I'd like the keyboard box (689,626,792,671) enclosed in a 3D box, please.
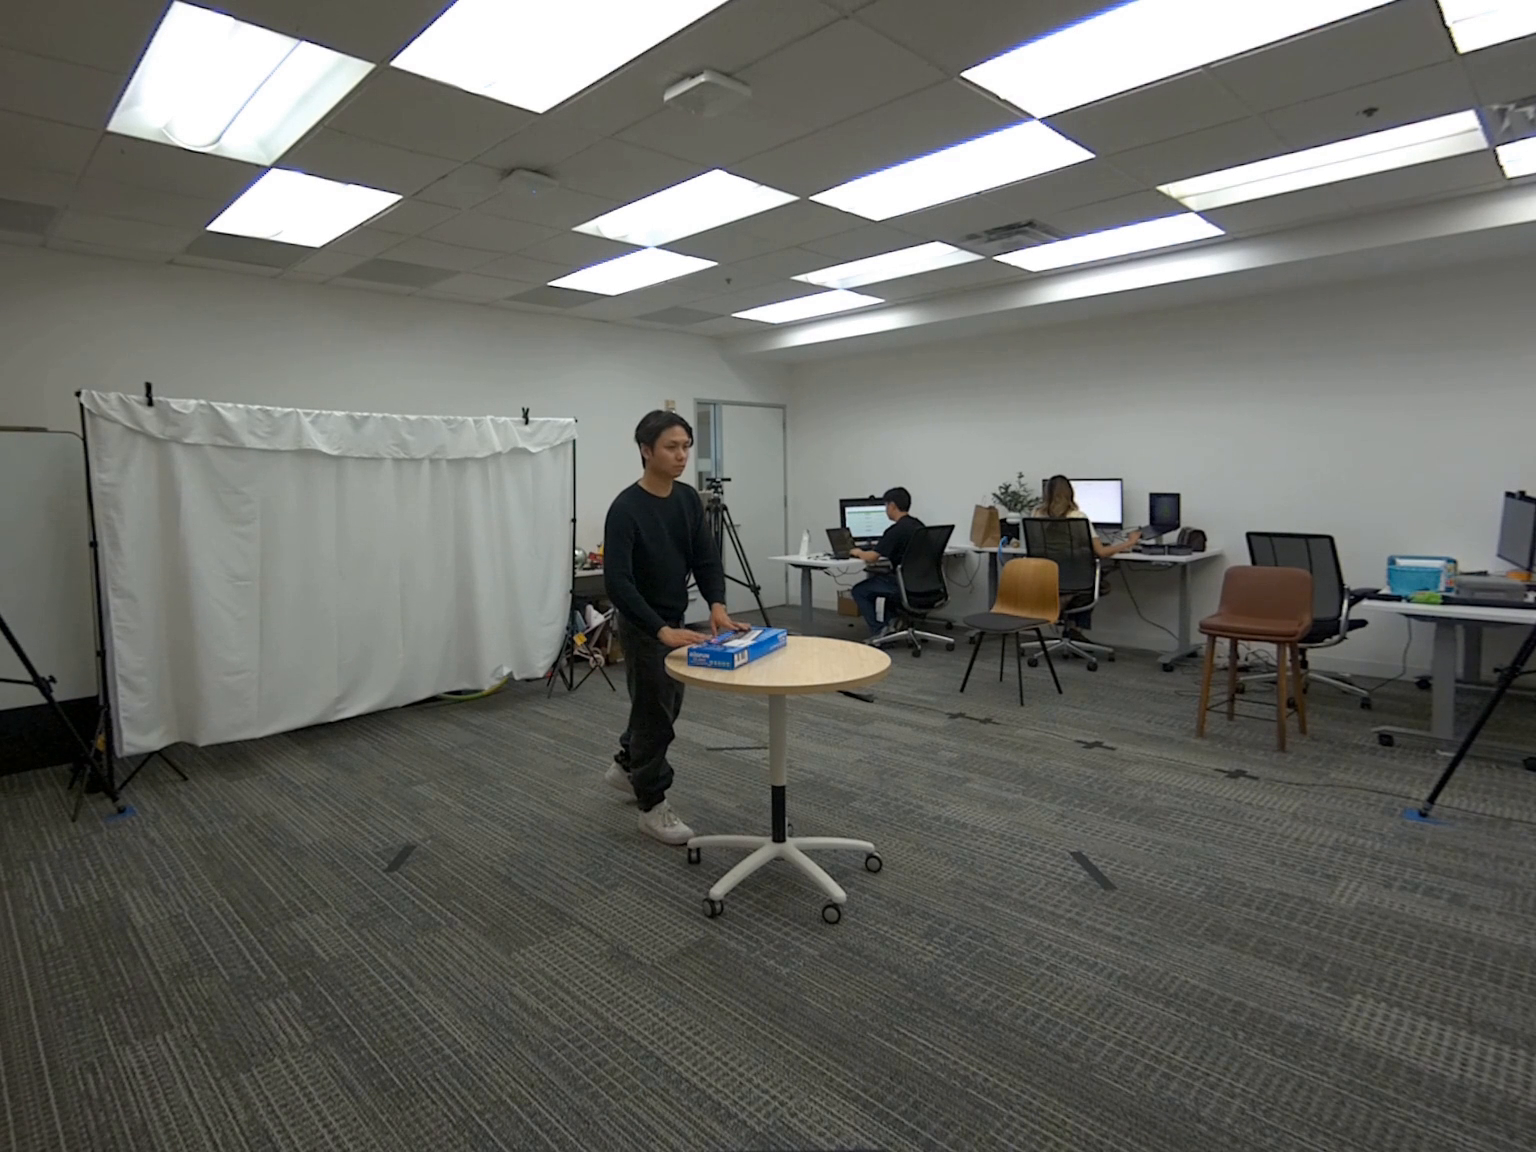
[{"bbox_3d":[-0.088,0.243,2.966,0.180,0.059,0.428,2,7,26],"label":"keyboard box"}]
